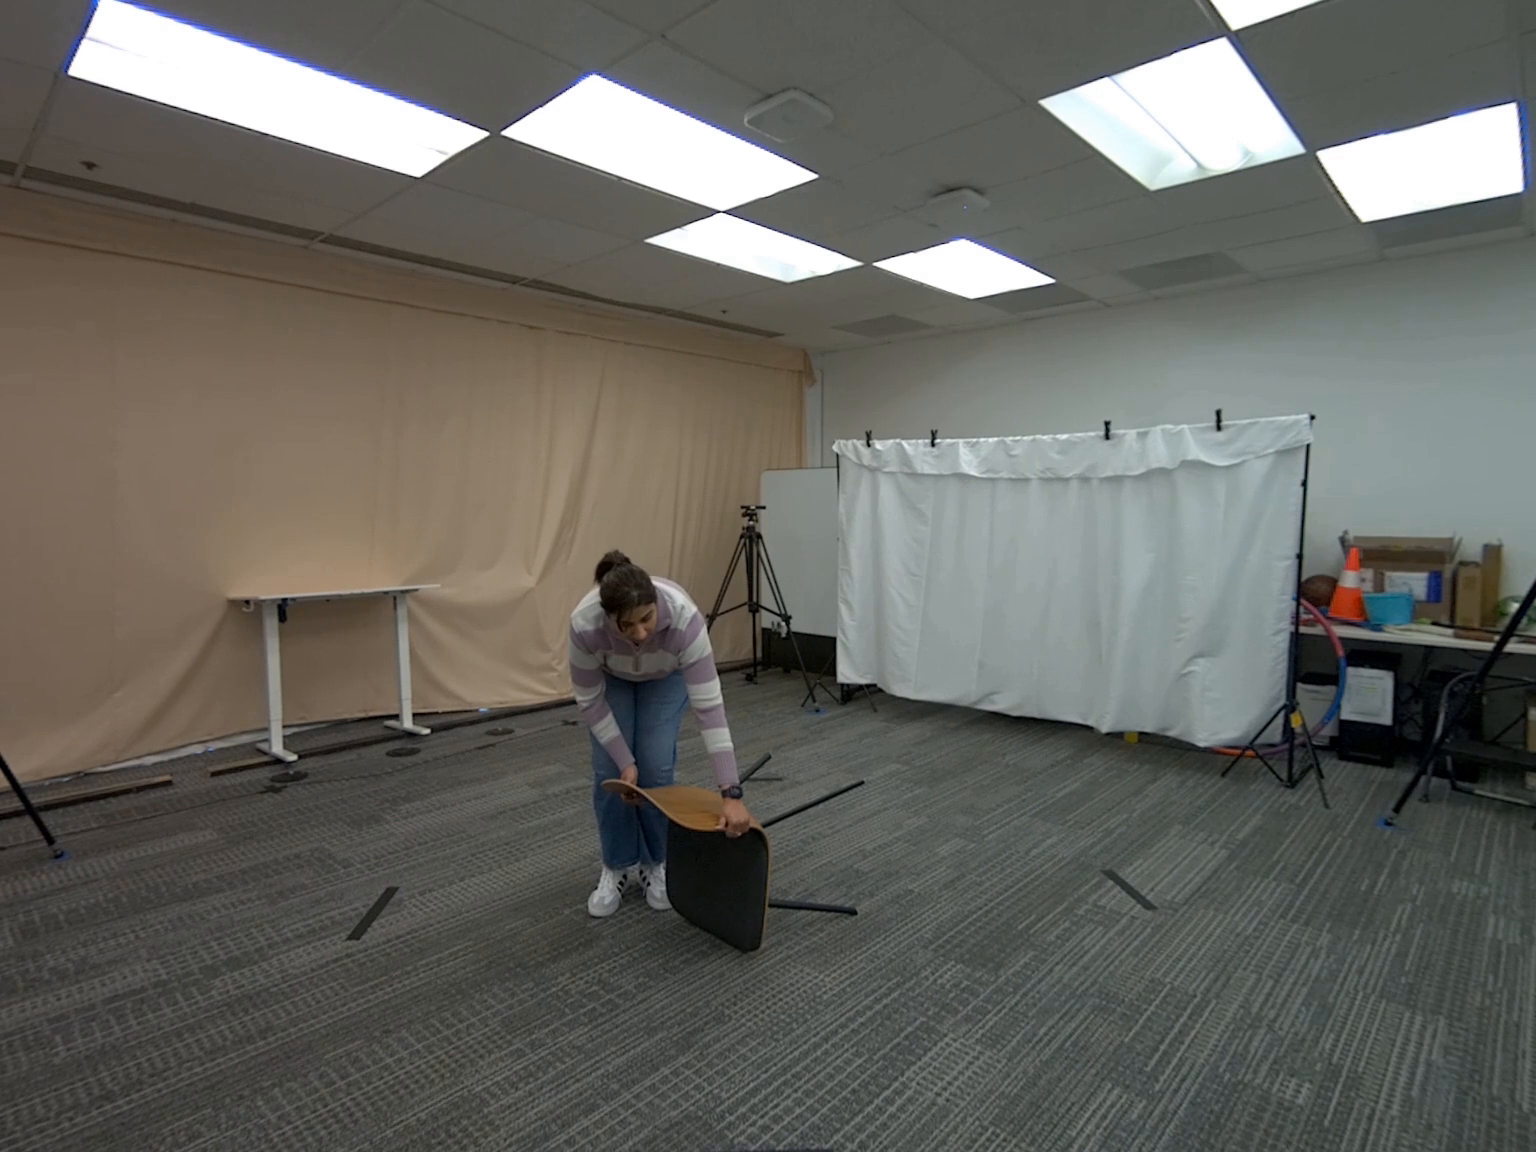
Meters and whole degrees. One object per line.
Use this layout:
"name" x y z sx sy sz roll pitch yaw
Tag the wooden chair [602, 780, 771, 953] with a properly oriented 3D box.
"wooden chair" -0.137 0.907 2.740 0.494 0.524 0.847 4 -3 45
